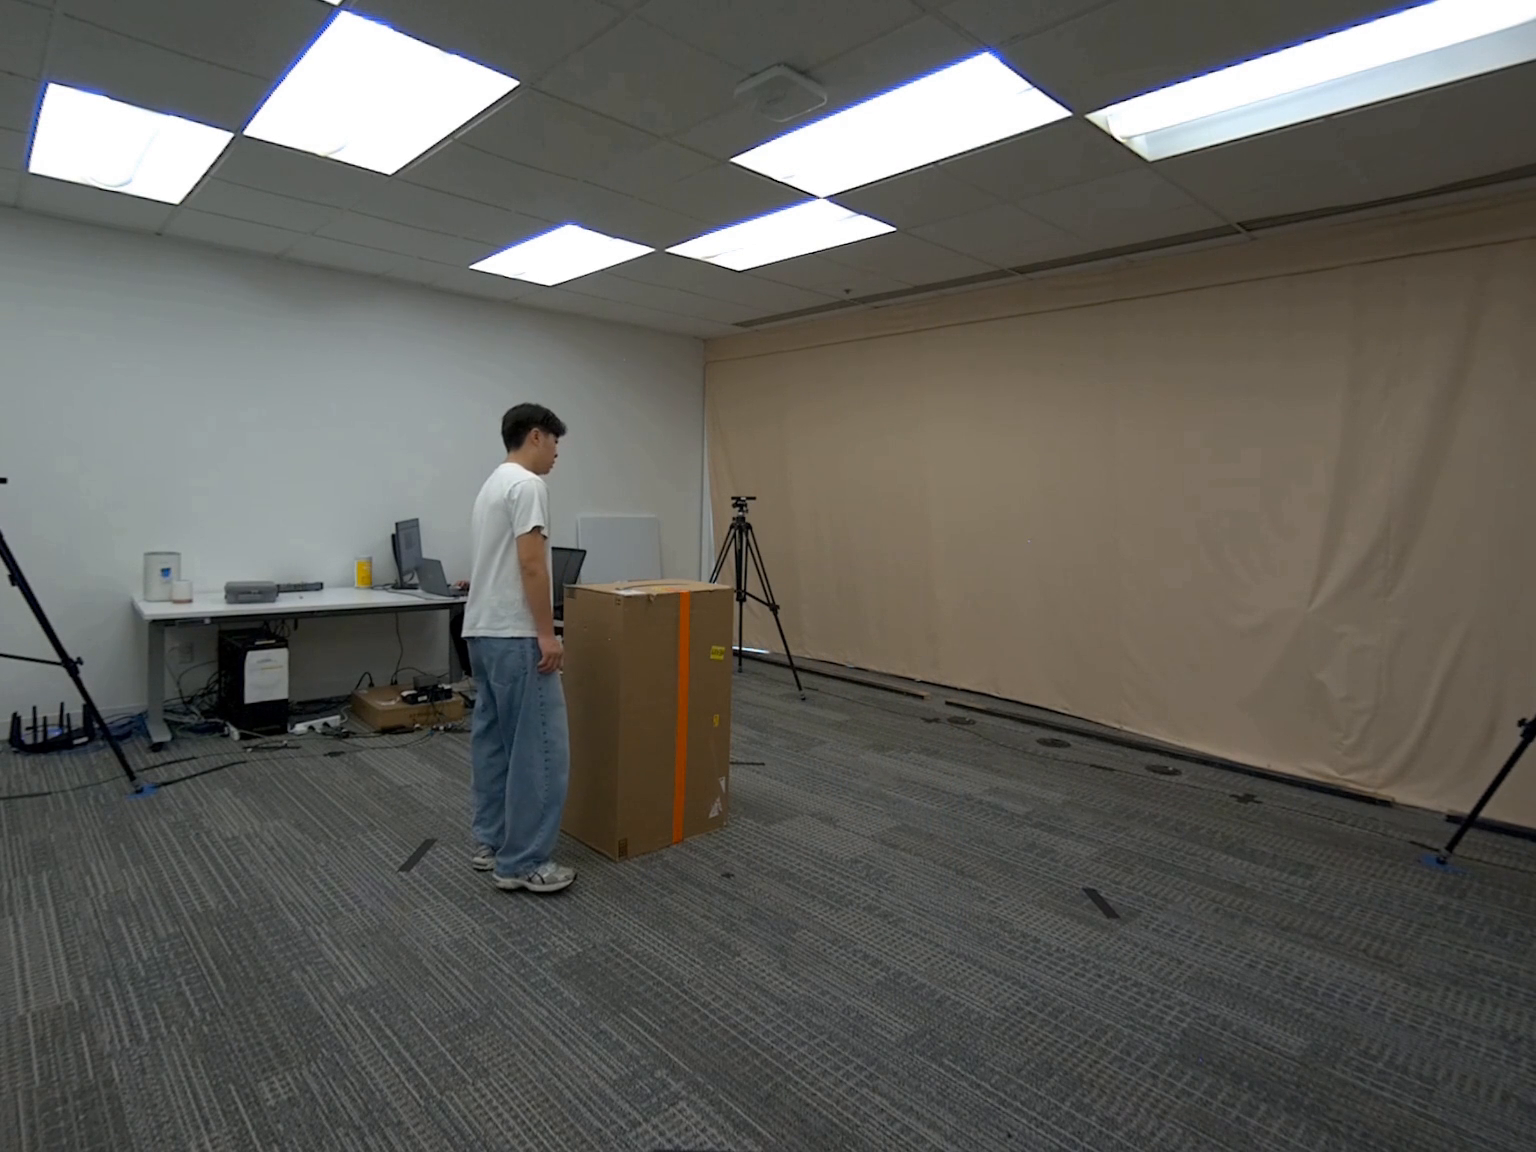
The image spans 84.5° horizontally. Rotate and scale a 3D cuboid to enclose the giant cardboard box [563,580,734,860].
[{"bbox_3d":[-0.508,0.552,3.514,0.564,1.023,0.437,-2,5,-44],"label":"giant cardboard box"}]
